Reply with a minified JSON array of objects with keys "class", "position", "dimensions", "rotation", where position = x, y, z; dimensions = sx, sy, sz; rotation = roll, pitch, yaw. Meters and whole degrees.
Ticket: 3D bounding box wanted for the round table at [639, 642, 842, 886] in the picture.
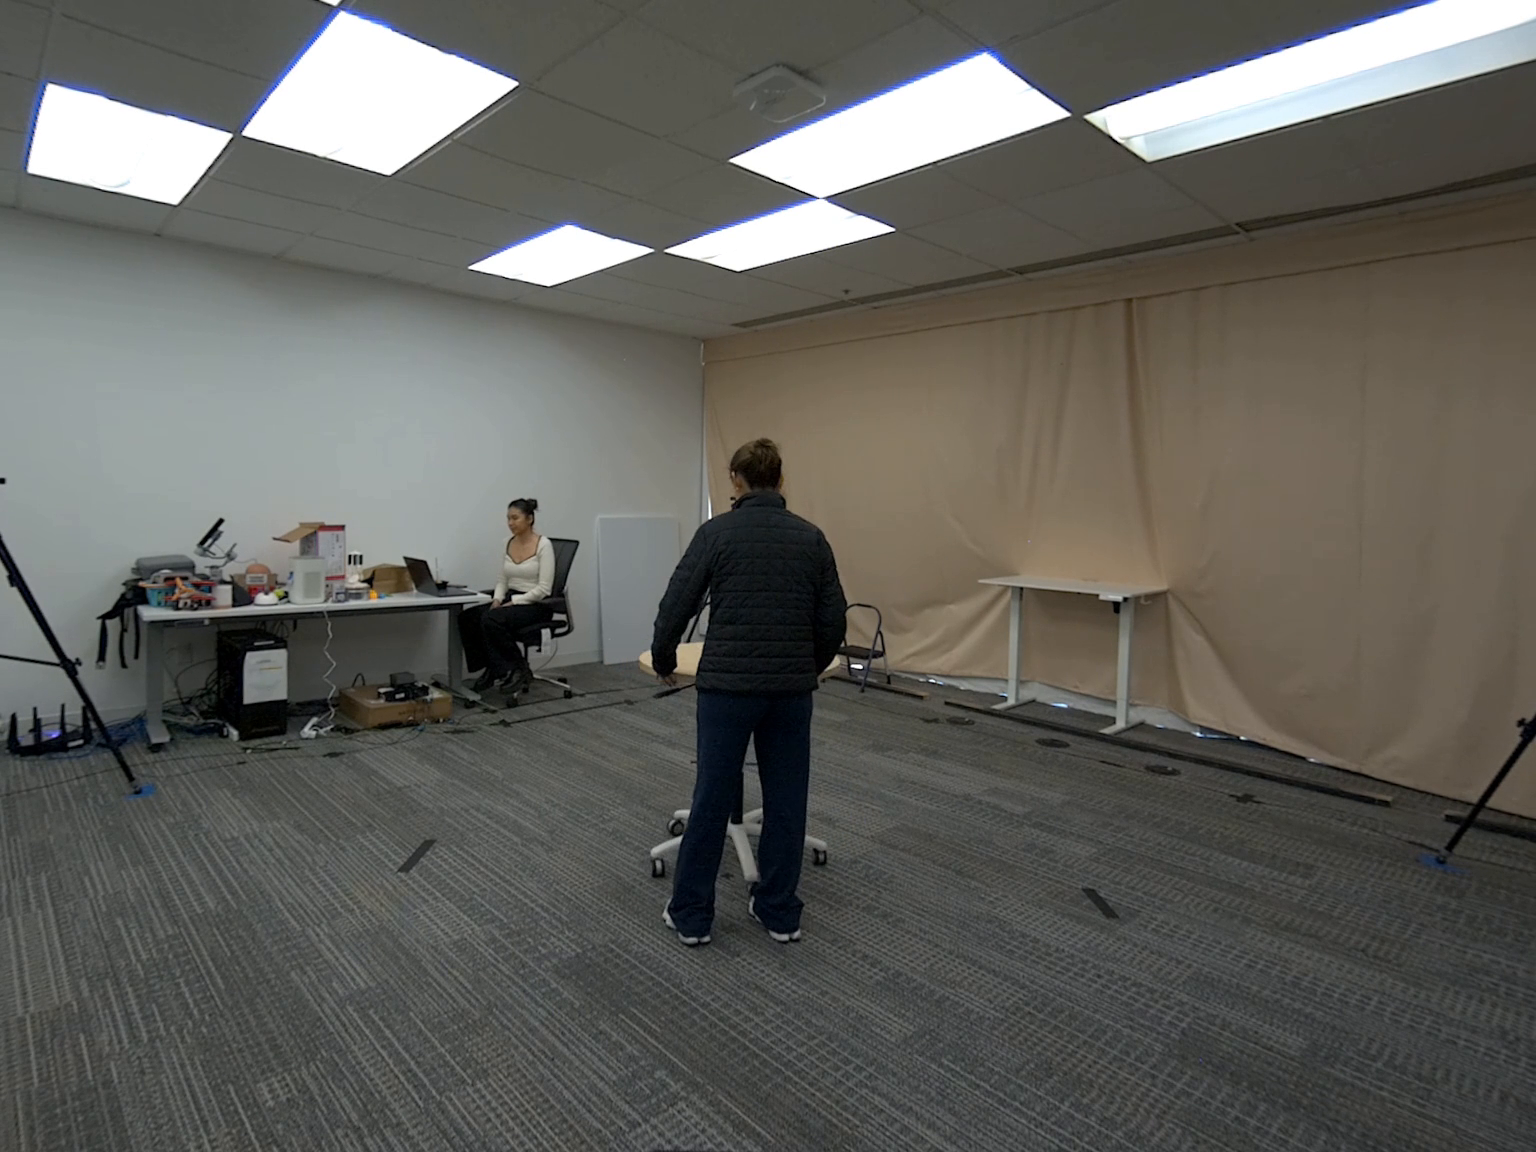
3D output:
[{"class":"round table","position":[-0.128,0.704,3.242],"dimensions":[0.784,0.784,0.788],"rotation":[1,4,-1]}]
